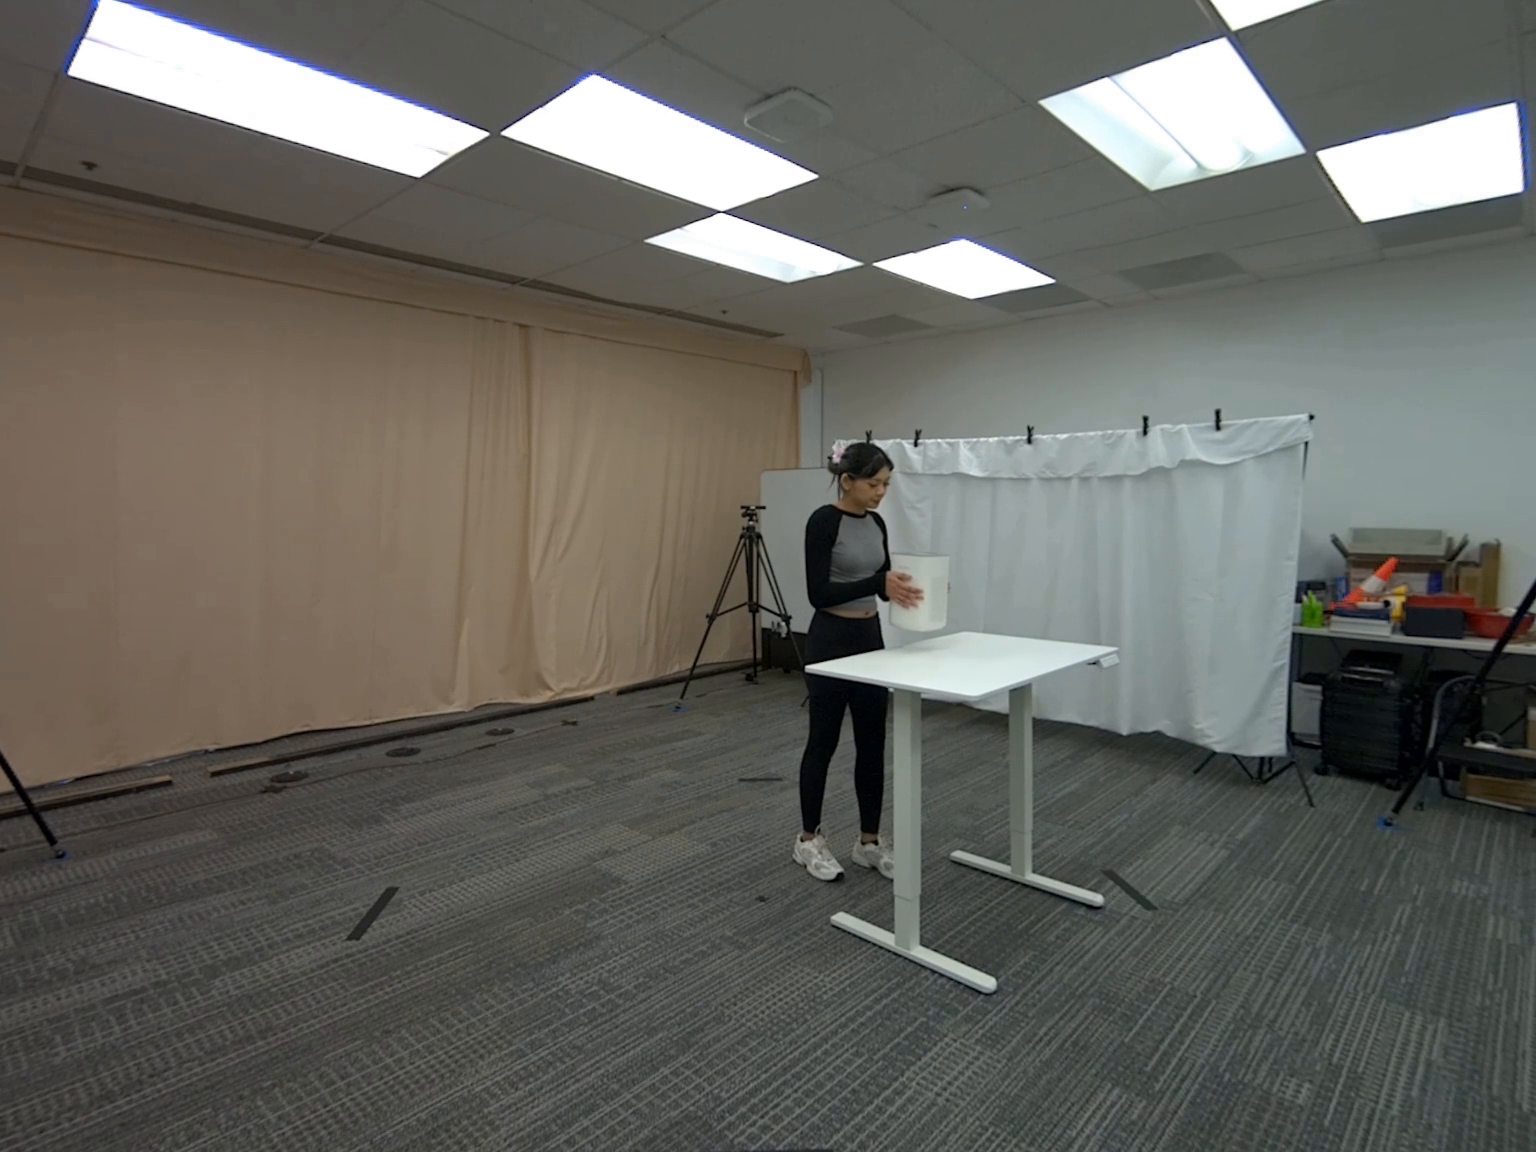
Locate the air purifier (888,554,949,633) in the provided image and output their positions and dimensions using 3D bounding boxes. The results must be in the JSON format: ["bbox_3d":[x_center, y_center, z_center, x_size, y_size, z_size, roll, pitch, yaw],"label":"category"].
[{"bbox_3d":[0.530,0.053,2.958,0.177,0.264,0.166,6,7,43],"label":"air purifier"}]
